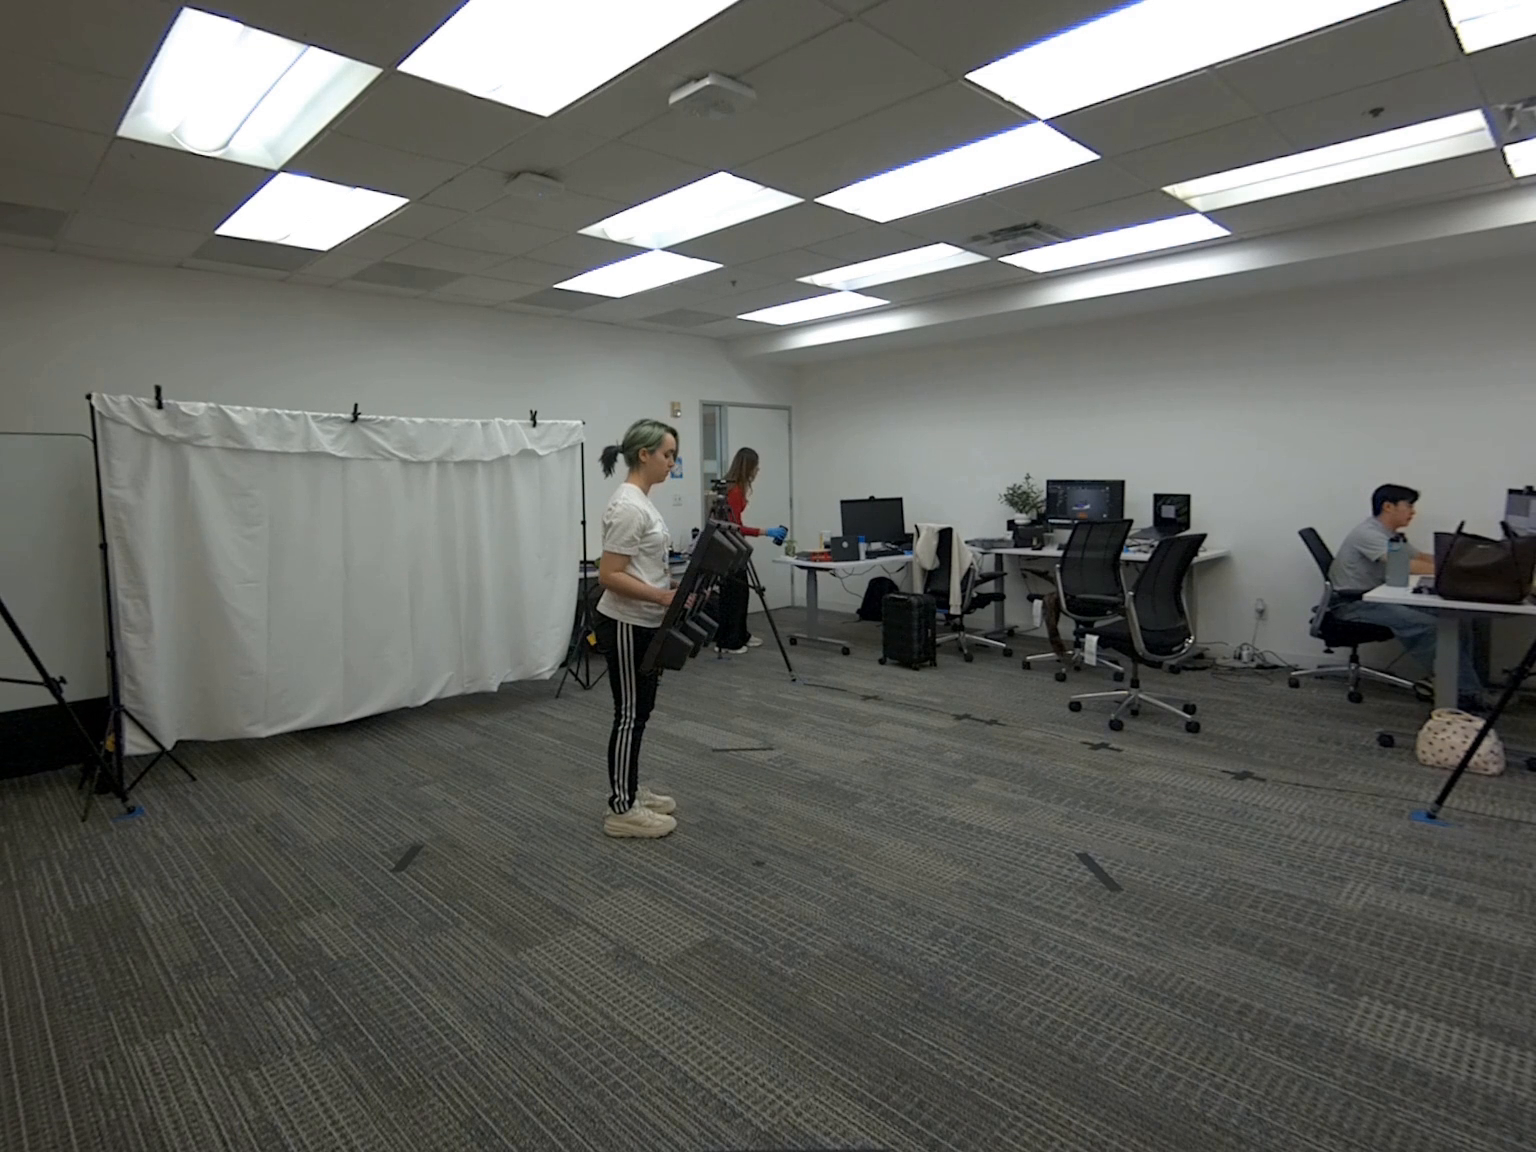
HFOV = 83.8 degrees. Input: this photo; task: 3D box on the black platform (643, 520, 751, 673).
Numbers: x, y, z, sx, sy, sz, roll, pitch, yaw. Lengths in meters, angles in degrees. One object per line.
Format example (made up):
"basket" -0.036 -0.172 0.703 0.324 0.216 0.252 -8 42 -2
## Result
"black platform" -0.248 0.088 3.384 0.144 0.604 0.801 23 3 3
